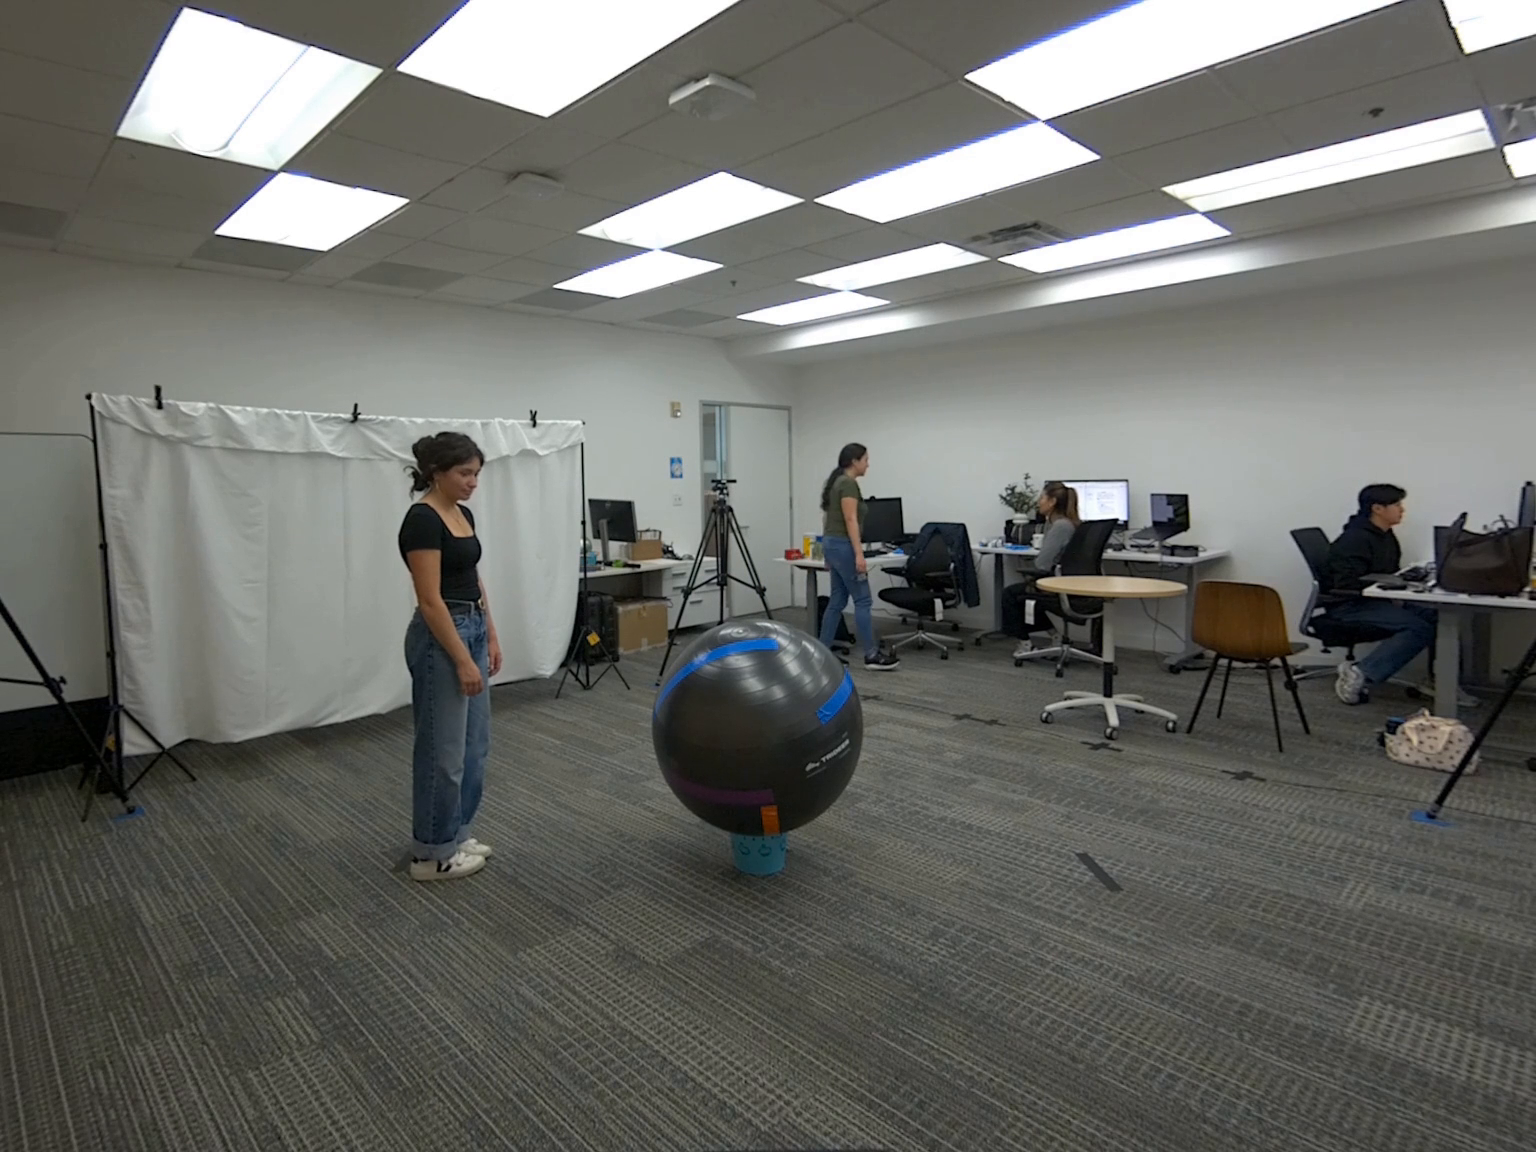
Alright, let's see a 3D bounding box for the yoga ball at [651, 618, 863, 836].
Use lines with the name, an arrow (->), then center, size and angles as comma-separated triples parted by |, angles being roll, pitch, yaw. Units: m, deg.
yoga ball -> -0.042, 0.538, 3.062 | 0.757, 0.755, 0.762 | -1, 5, -2
